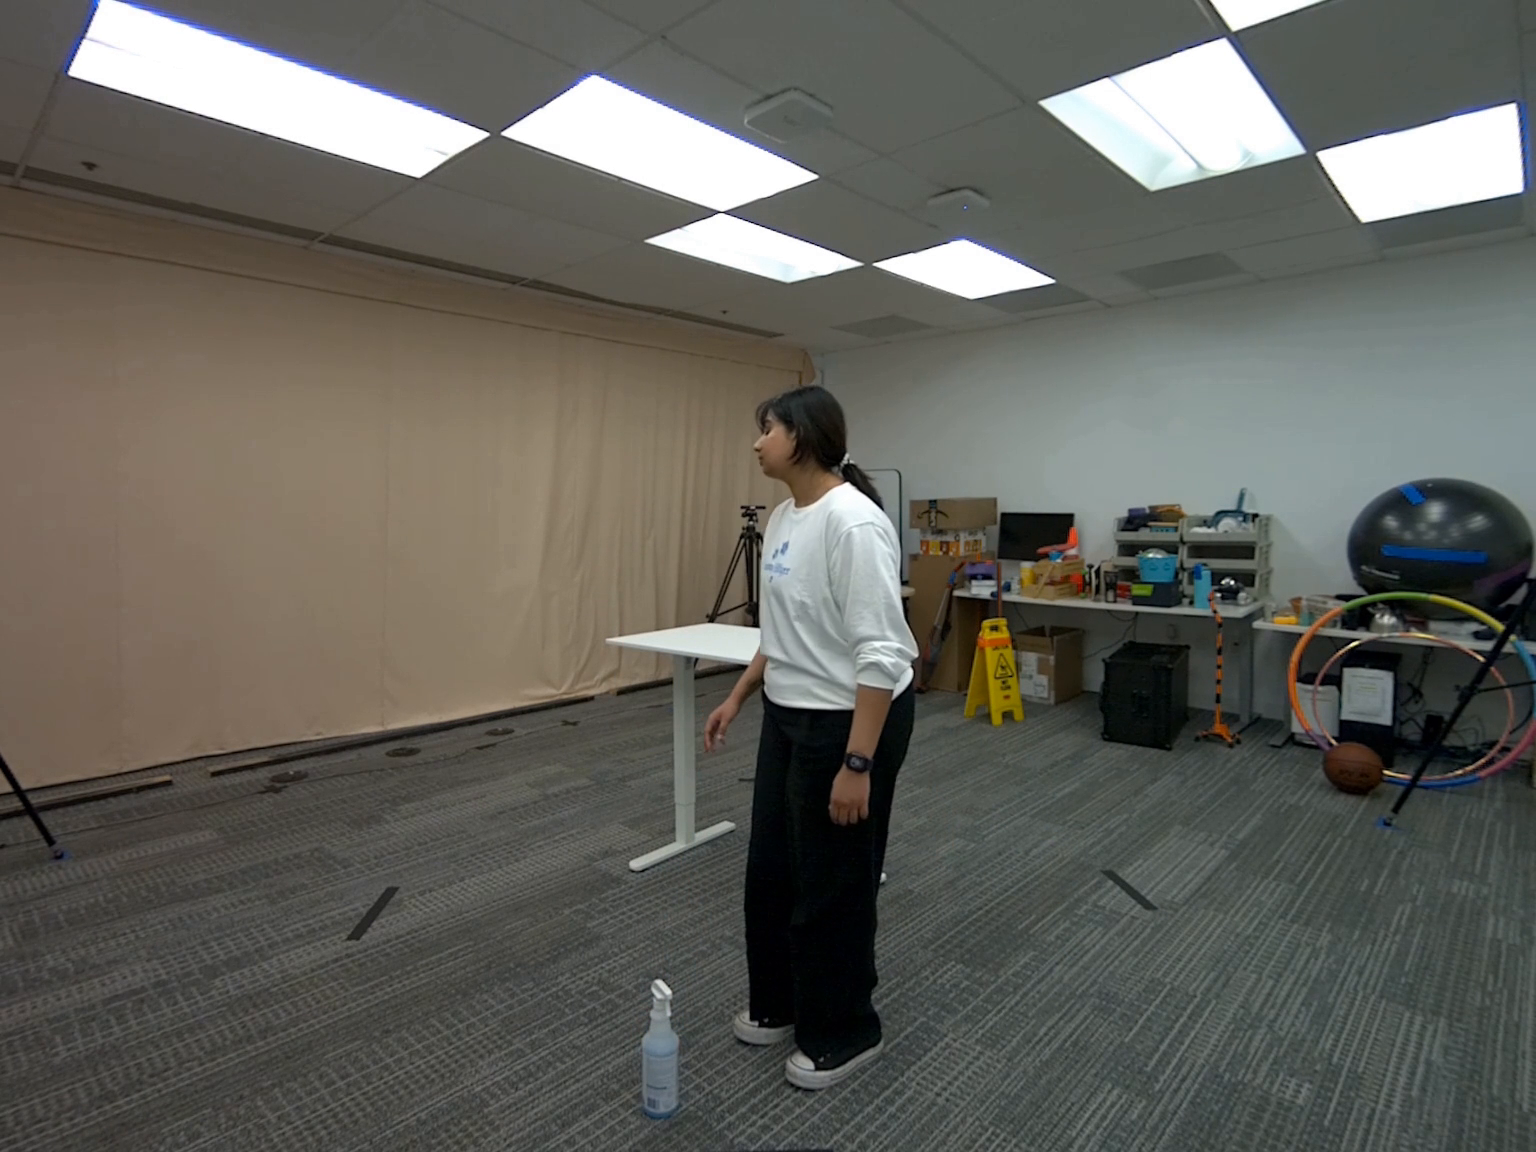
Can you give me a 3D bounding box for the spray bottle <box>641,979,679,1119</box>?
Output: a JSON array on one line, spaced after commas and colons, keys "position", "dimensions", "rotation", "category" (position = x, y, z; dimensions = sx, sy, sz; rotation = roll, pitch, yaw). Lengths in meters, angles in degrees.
[{"position": [-0.237, 1.092, 1.938], "dimensions": [0.087, 0.296, 0.091], "rotation": [1, 4, -5], "category": "spray bottle"}]
